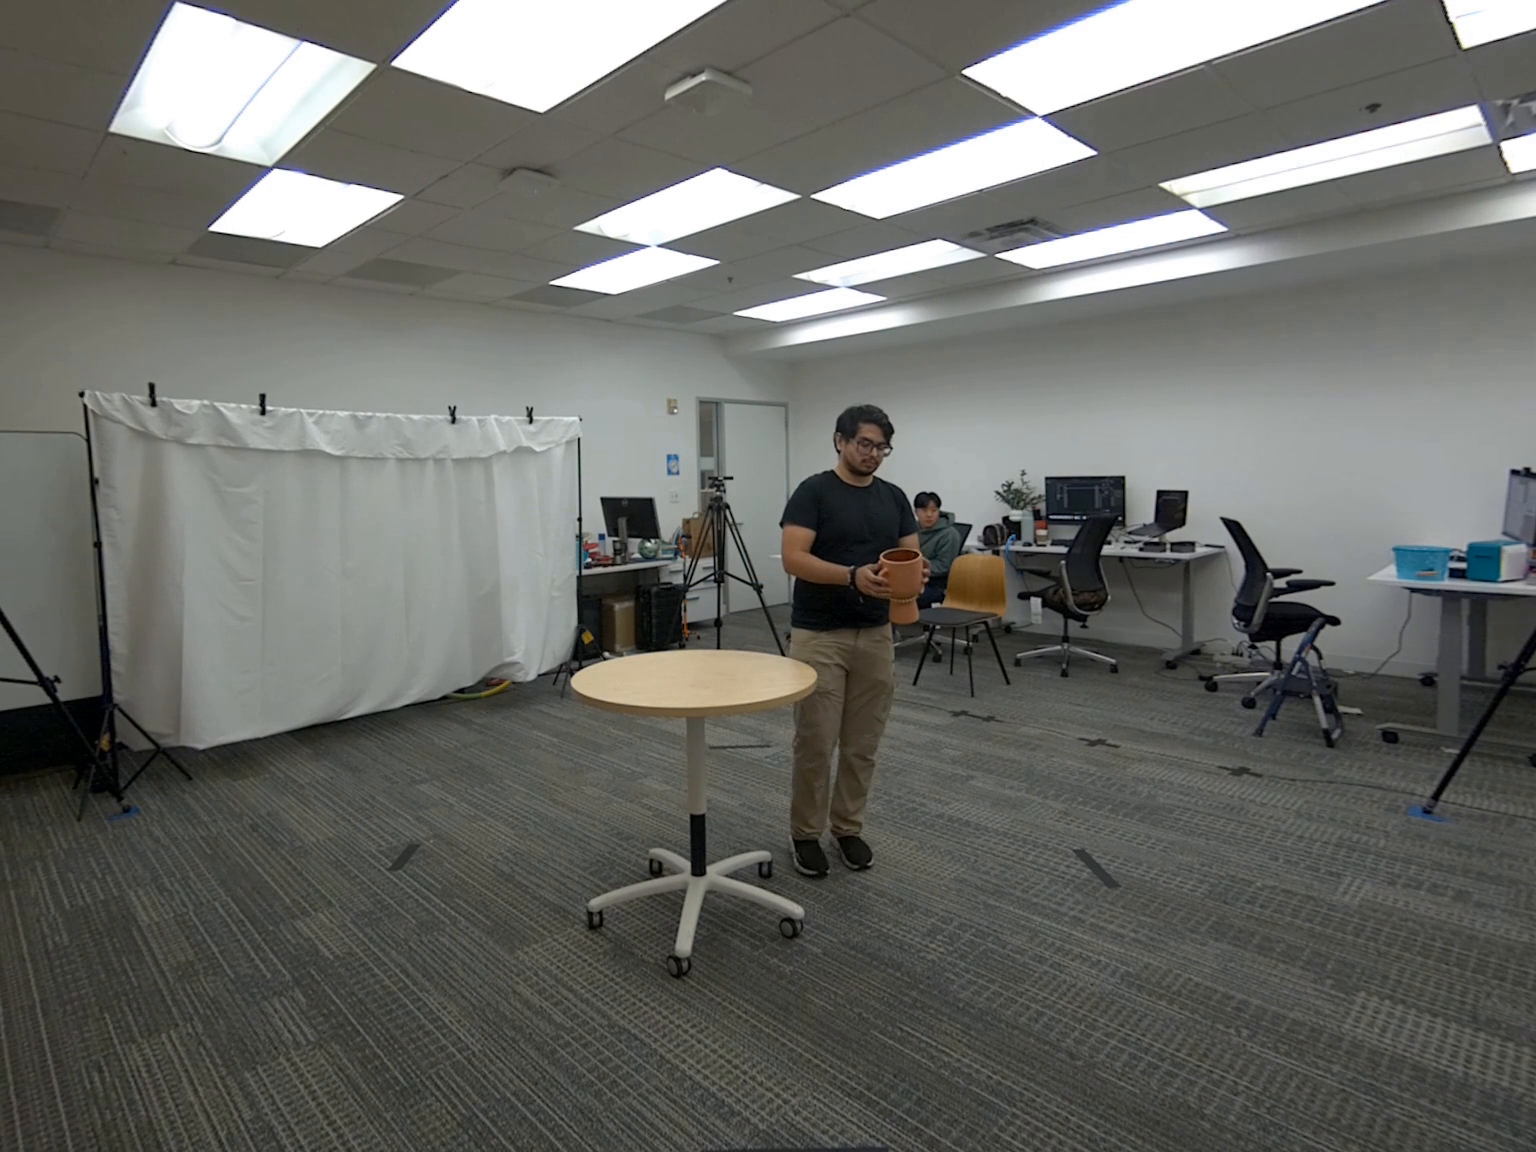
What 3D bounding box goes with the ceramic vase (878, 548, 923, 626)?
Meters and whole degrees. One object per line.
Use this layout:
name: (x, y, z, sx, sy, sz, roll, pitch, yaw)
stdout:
ceramic vase: (0.429, 0.038, 2.769, 0.159, 0.215, 0.137, -7, 20, 4)
